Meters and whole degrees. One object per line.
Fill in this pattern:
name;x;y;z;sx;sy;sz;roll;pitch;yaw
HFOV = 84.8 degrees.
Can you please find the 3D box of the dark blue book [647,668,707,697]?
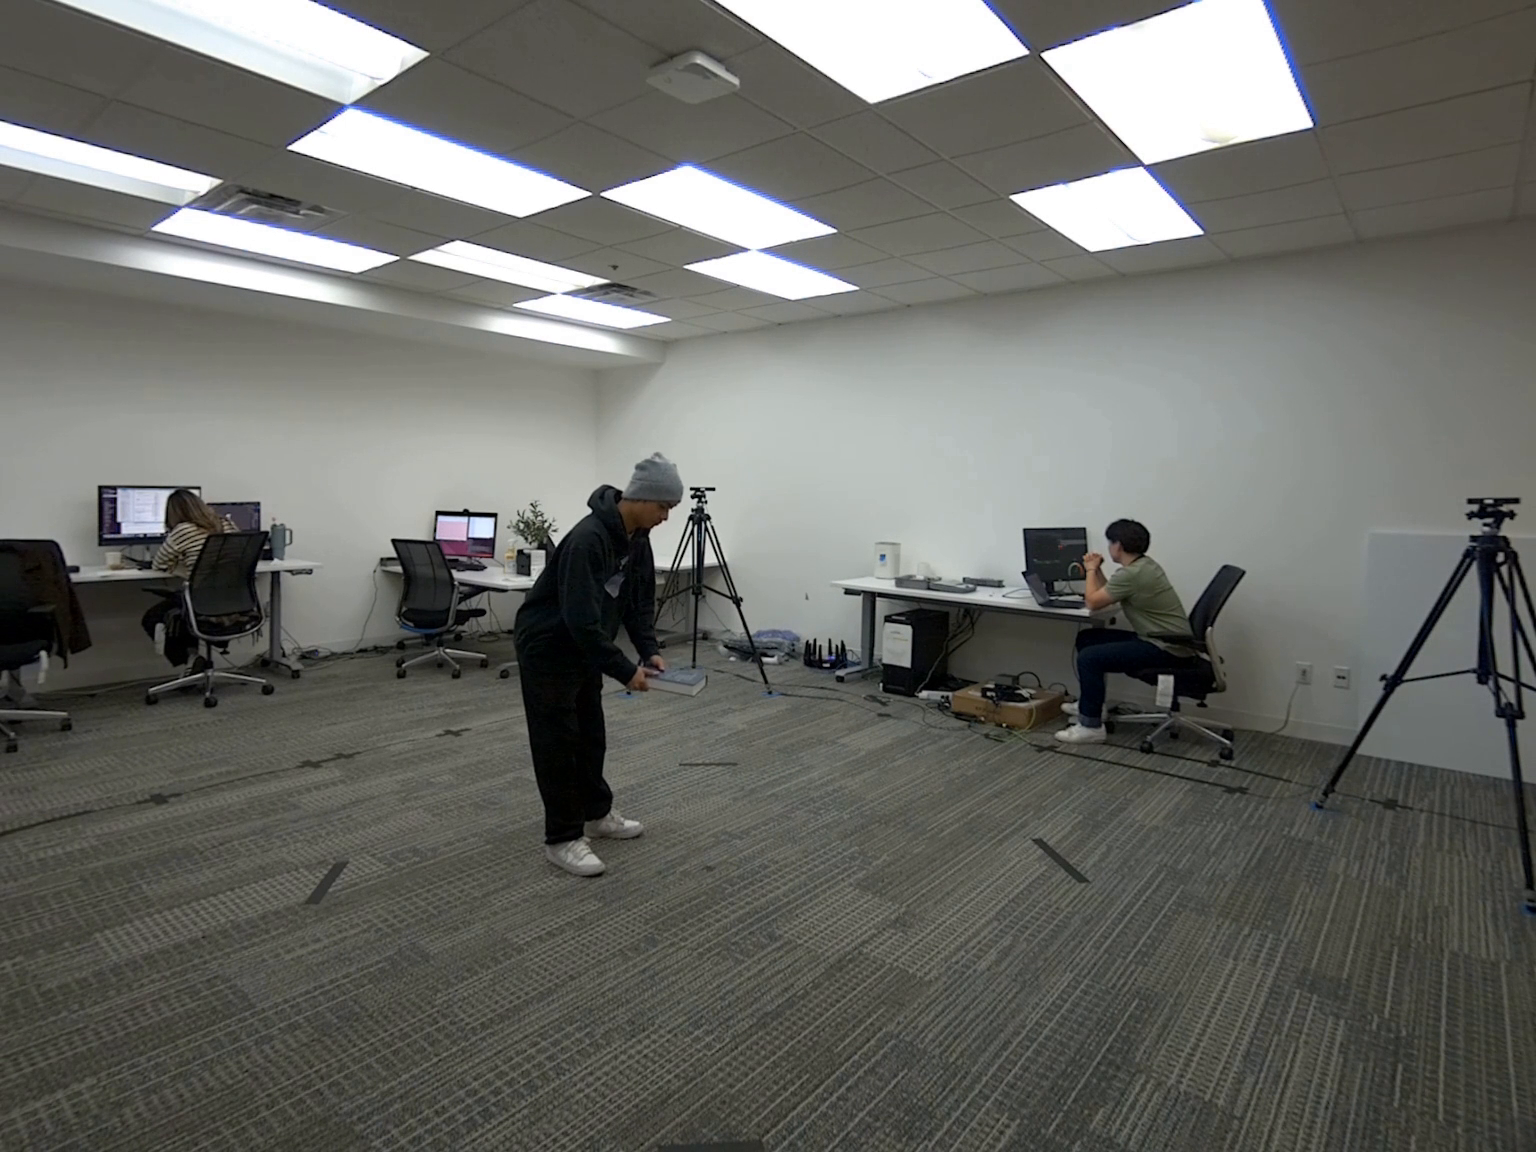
dark blue book;-0.377;0.384;3.105;0.249;0.045;0.162;8;8;12
